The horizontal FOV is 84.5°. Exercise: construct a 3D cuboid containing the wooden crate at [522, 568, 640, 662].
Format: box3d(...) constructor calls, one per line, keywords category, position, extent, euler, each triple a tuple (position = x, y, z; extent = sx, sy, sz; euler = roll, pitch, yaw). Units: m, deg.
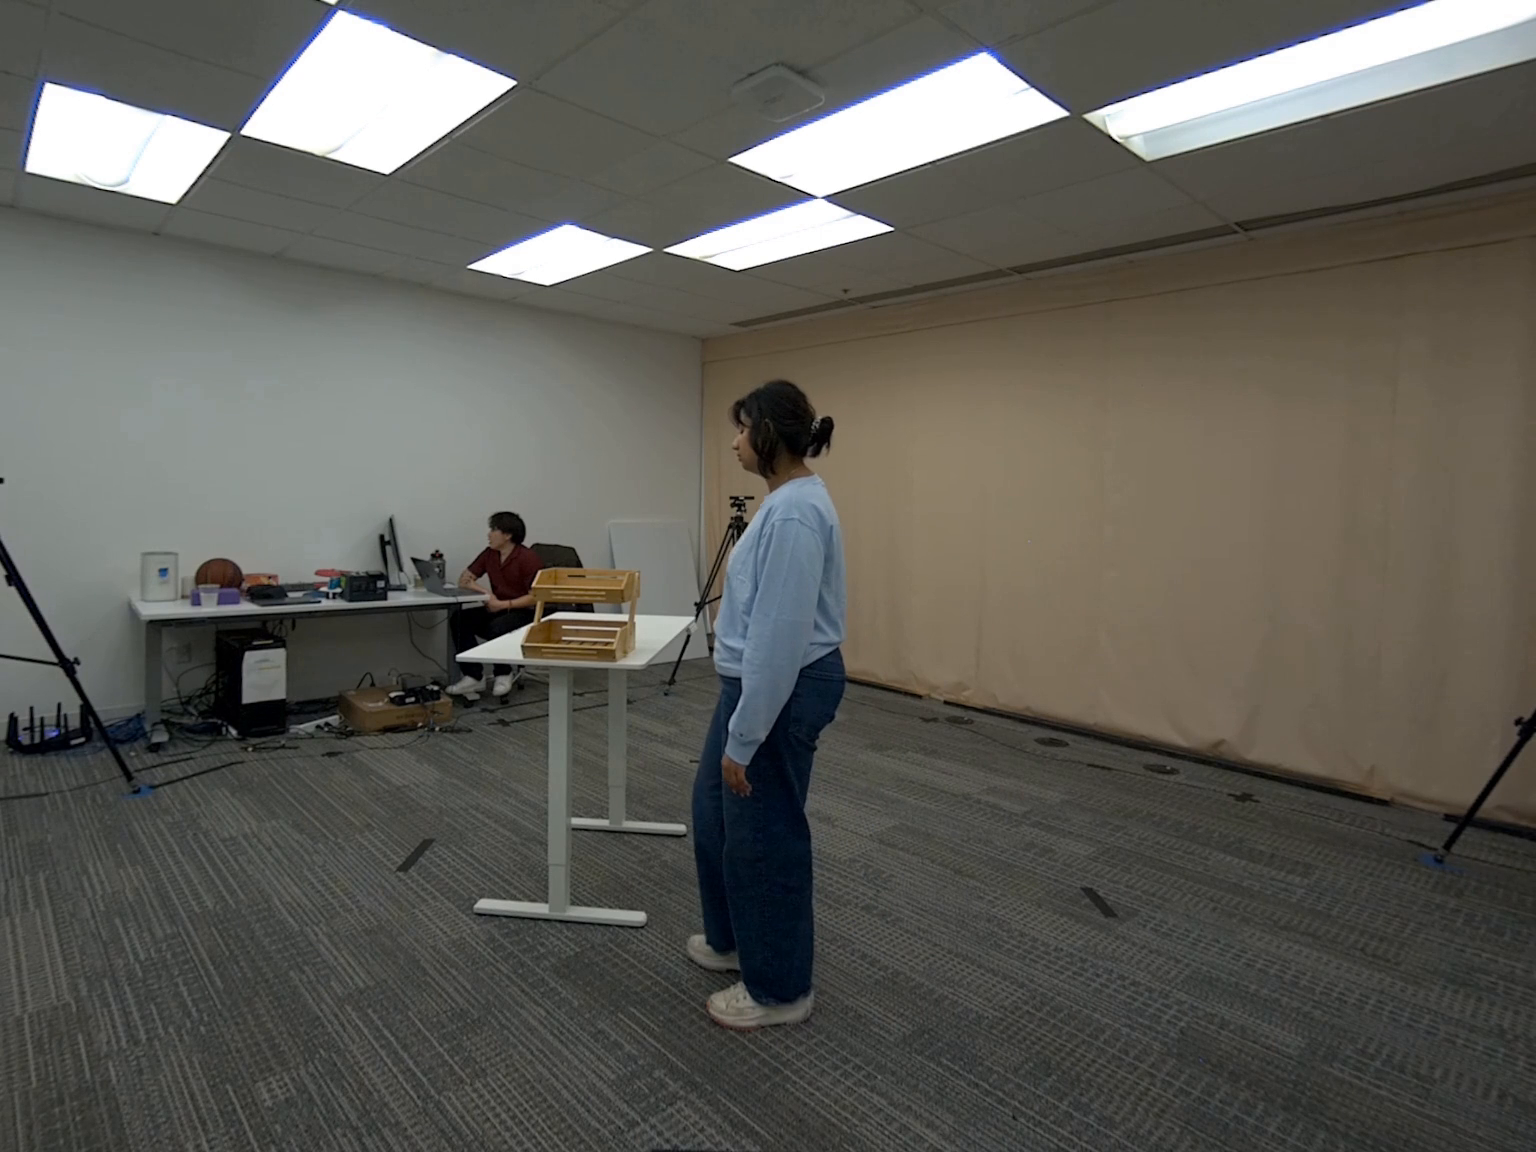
box3d(category="wooden crate", position=(-0.609, 0.119, 2.704), extent=(0.326, 0.273, 0.301), euler=(1, 4, 7))
